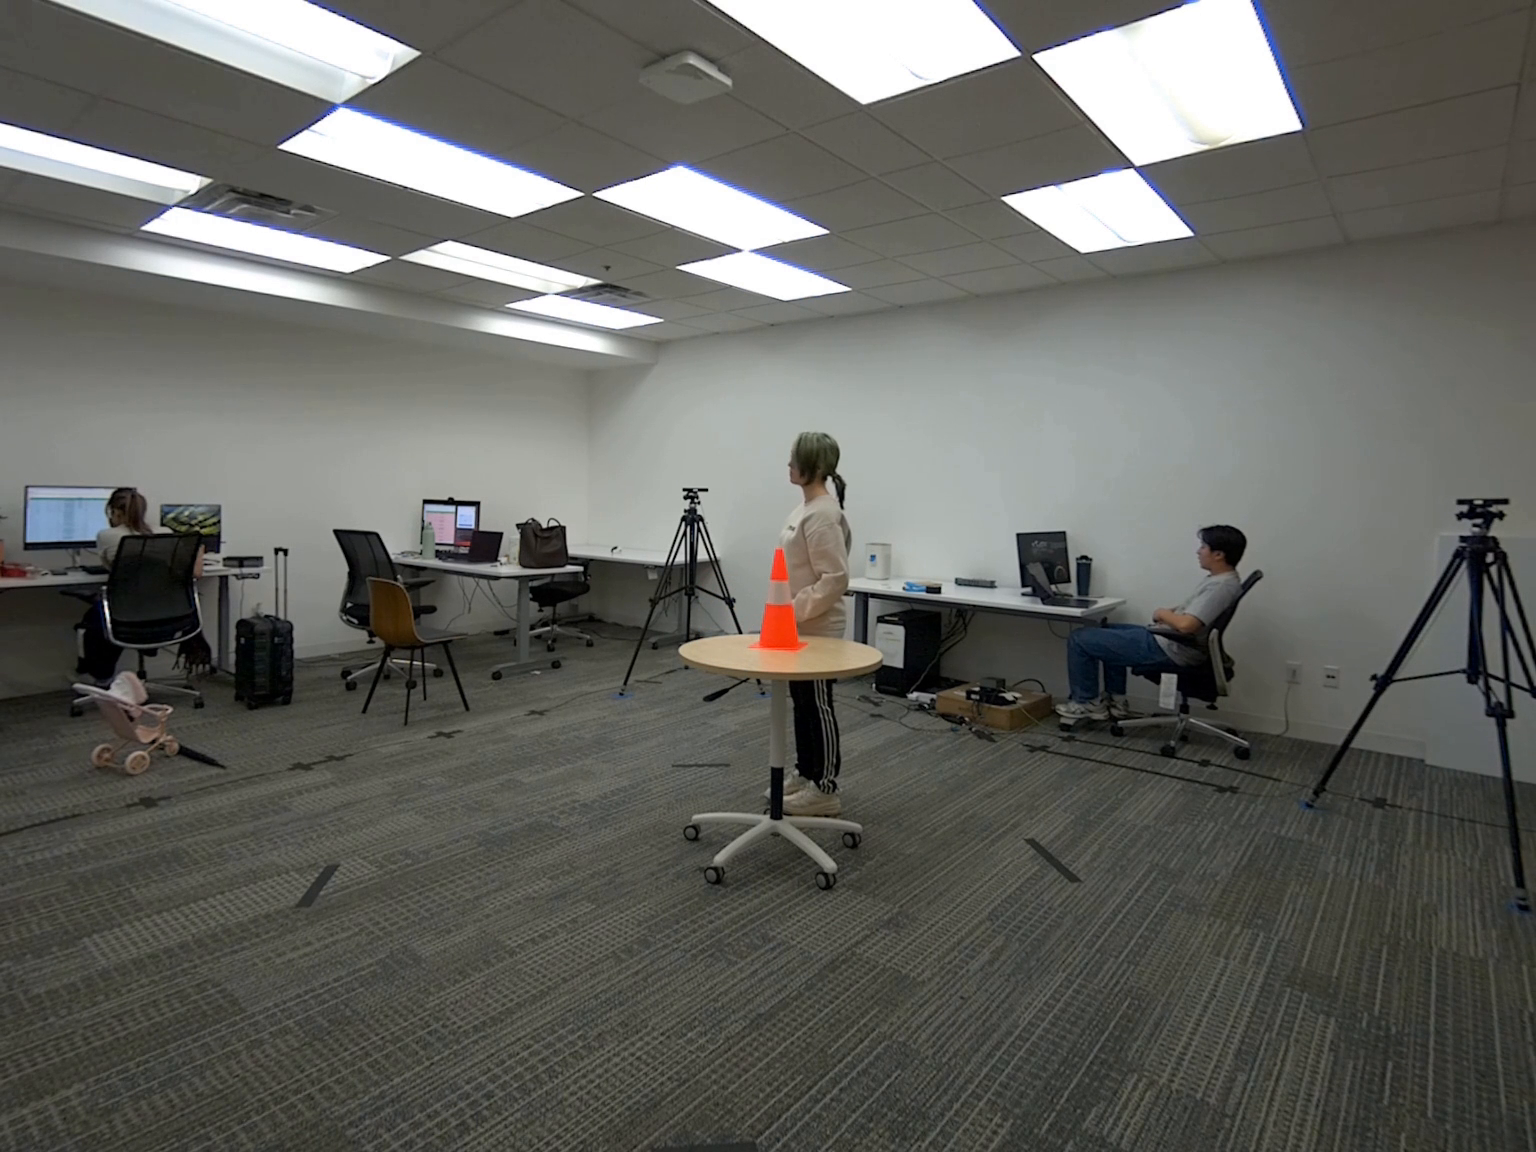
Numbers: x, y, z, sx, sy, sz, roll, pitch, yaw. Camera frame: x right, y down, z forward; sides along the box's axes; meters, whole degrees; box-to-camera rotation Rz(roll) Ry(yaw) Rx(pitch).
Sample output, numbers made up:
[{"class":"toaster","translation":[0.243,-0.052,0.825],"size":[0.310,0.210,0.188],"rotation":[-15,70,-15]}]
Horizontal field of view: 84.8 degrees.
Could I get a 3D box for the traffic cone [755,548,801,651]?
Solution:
[{"class":"traffic cone","translation":[0.033,0.080,3.328],"size":[0.197,0.383,0.212],"rotation":[-1,3,-42]}]
